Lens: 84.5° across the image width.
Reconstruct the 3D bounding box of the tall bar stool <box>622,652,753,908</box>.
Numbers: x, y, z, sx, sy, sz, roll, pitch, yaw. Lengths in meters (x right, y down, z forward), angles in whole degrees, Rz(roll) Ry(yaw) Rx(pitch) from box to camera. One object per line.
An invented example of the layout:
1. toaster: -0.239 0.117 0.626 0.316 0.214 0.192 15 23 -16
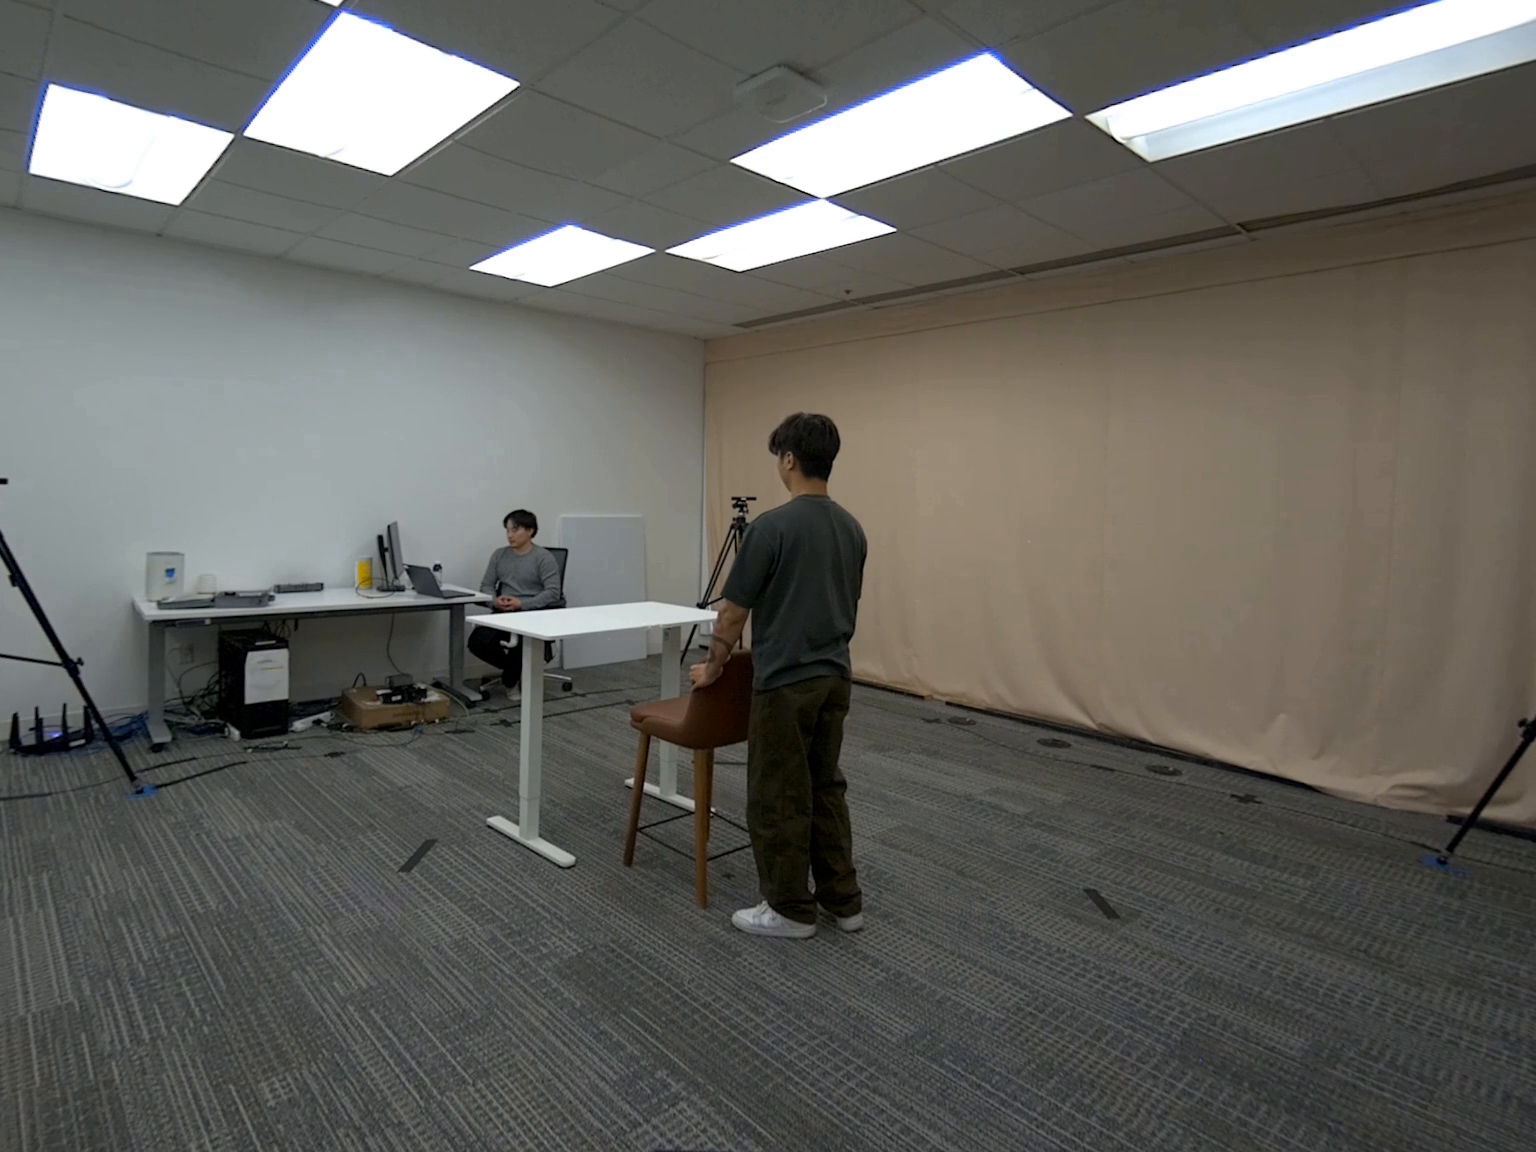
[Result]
1. tall bar stool: -0.234 0.664 3.104 0.446 0.887 0.480 -2 7 -42
